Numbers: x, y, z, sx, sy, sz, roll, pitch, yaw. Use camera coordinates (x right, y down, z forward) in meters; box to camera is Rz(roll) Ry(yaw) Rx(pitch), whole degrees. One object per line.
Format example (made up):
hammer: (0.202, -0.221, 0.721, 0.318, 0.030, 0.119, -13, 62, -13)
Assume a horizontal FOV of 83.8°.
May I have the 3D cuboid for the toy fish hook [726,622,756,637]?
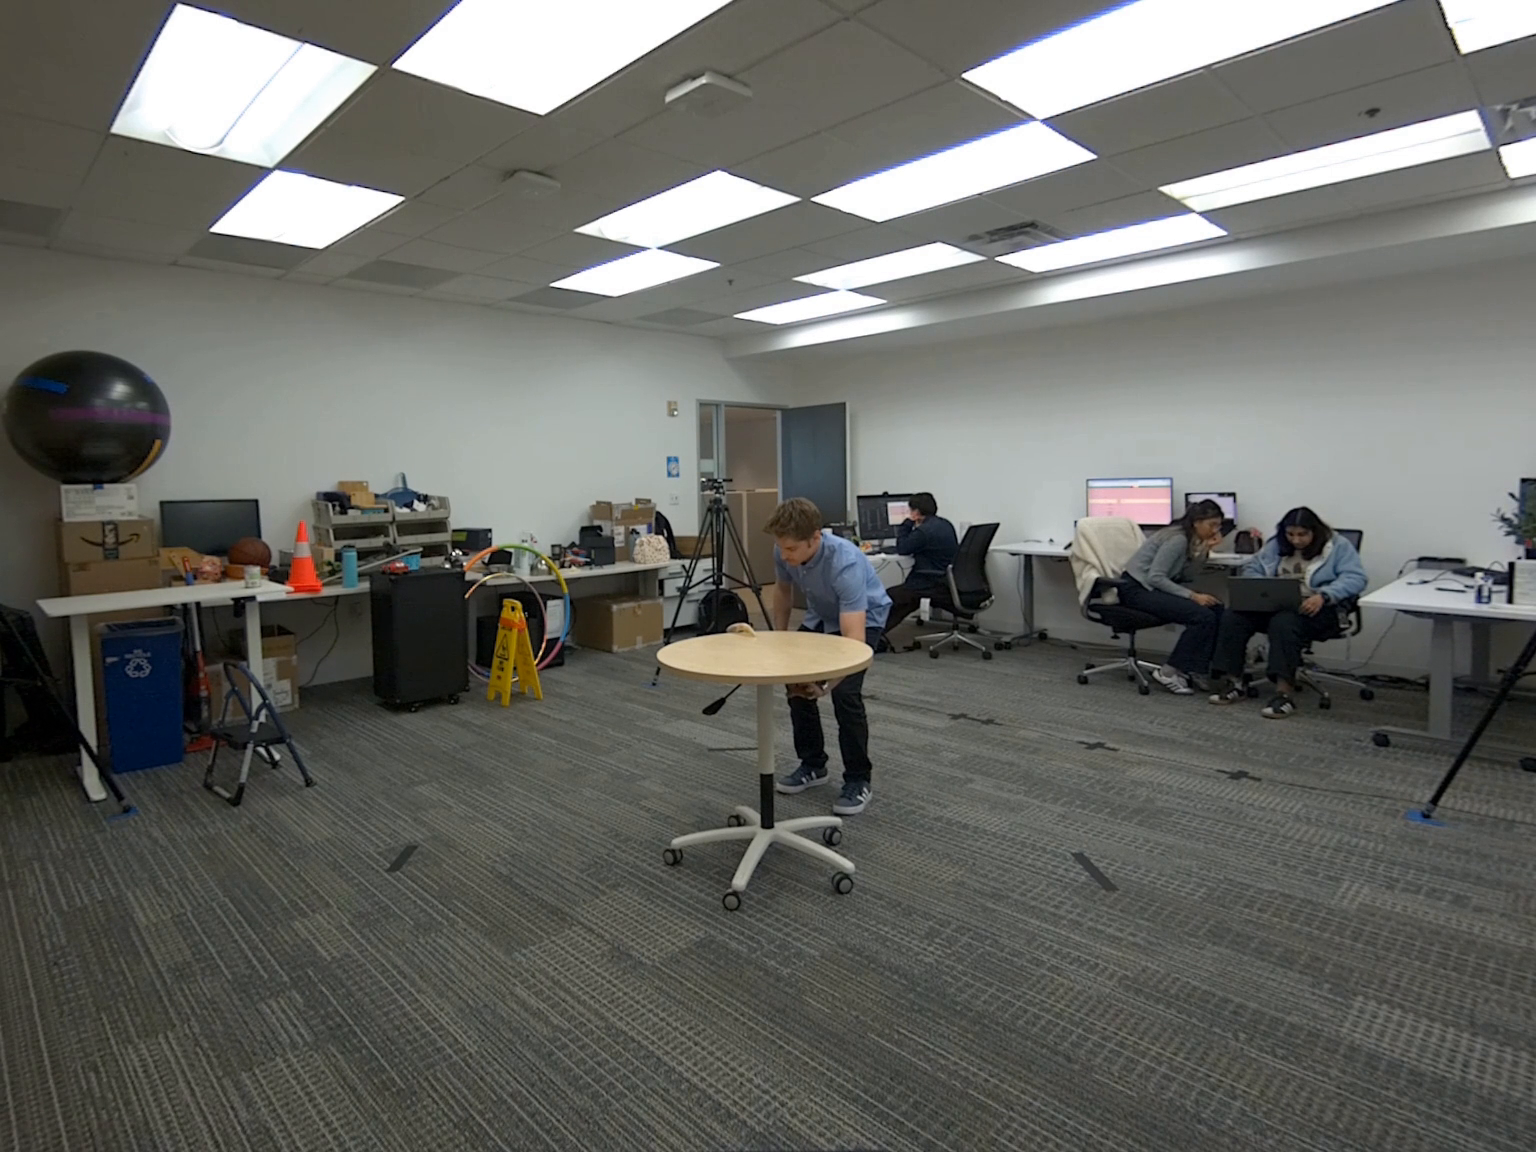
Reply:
toy fish hook: (0.001, 0.325, 3.302, 0.048, 0.219, 0.525, -25, 28, -29)
